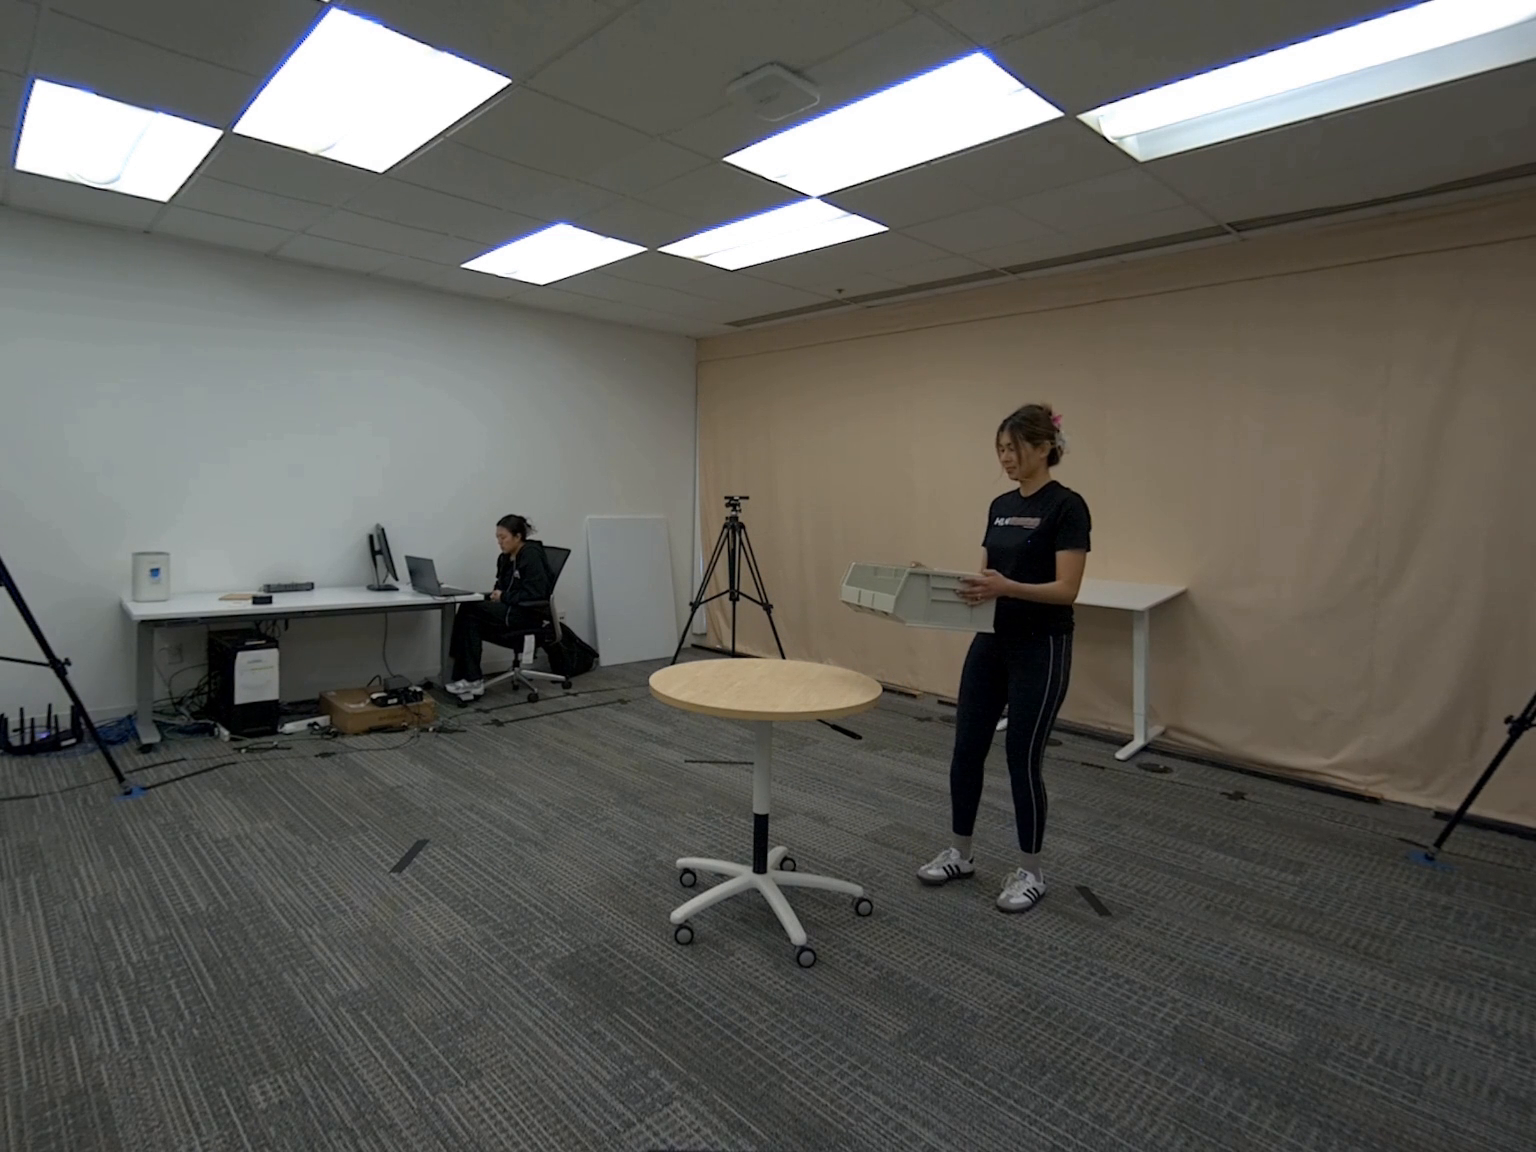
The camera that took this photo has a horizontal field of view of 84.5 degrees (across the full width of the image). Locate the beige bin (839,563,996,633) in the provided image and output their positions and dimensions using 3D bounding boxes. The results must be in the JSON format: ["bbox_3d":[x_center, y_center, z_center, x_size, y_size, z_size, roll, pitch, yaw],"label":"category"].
[{"bbox_3d":[0.488,0.065,2.811,0.371,0.189,0.429,6,2,-20],"label":"beige bin"}]
